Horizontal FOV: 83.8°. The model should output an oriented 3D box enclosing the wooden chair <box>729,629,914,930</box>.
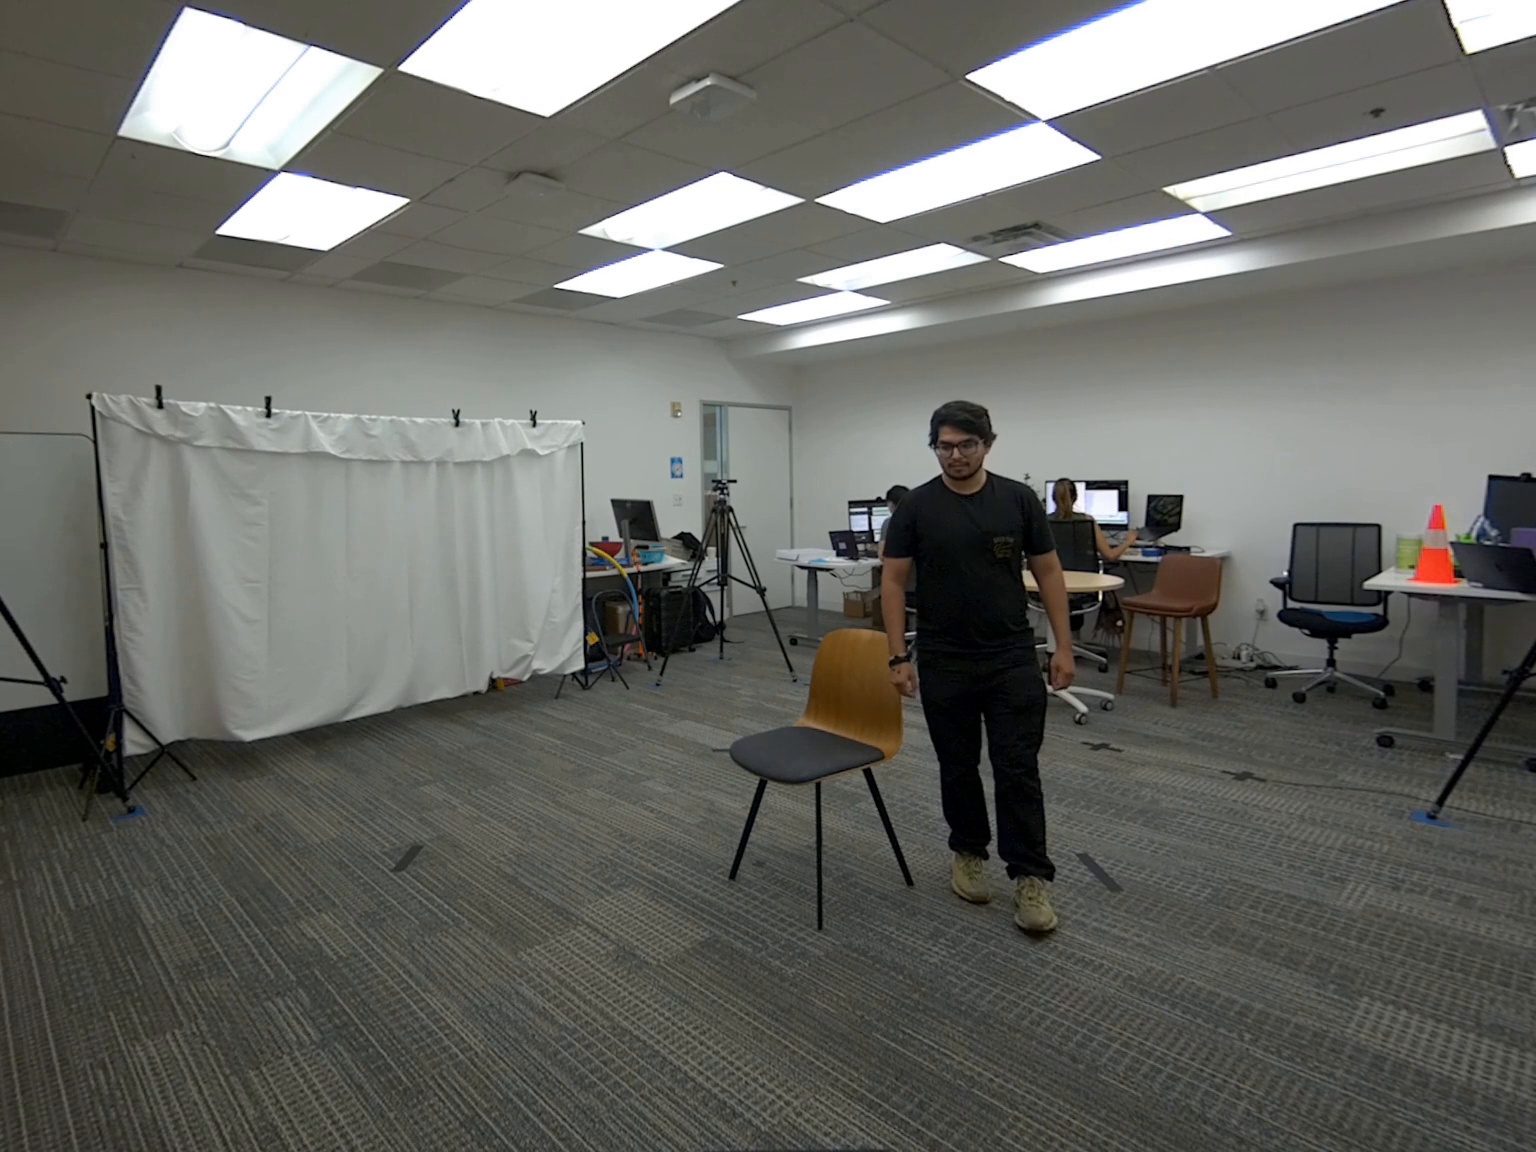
[{"bbox_3d":[0.165,0.637,2.922,0.508,0.877,0.492,2,1,-40],"label":"wooden chair"}]
